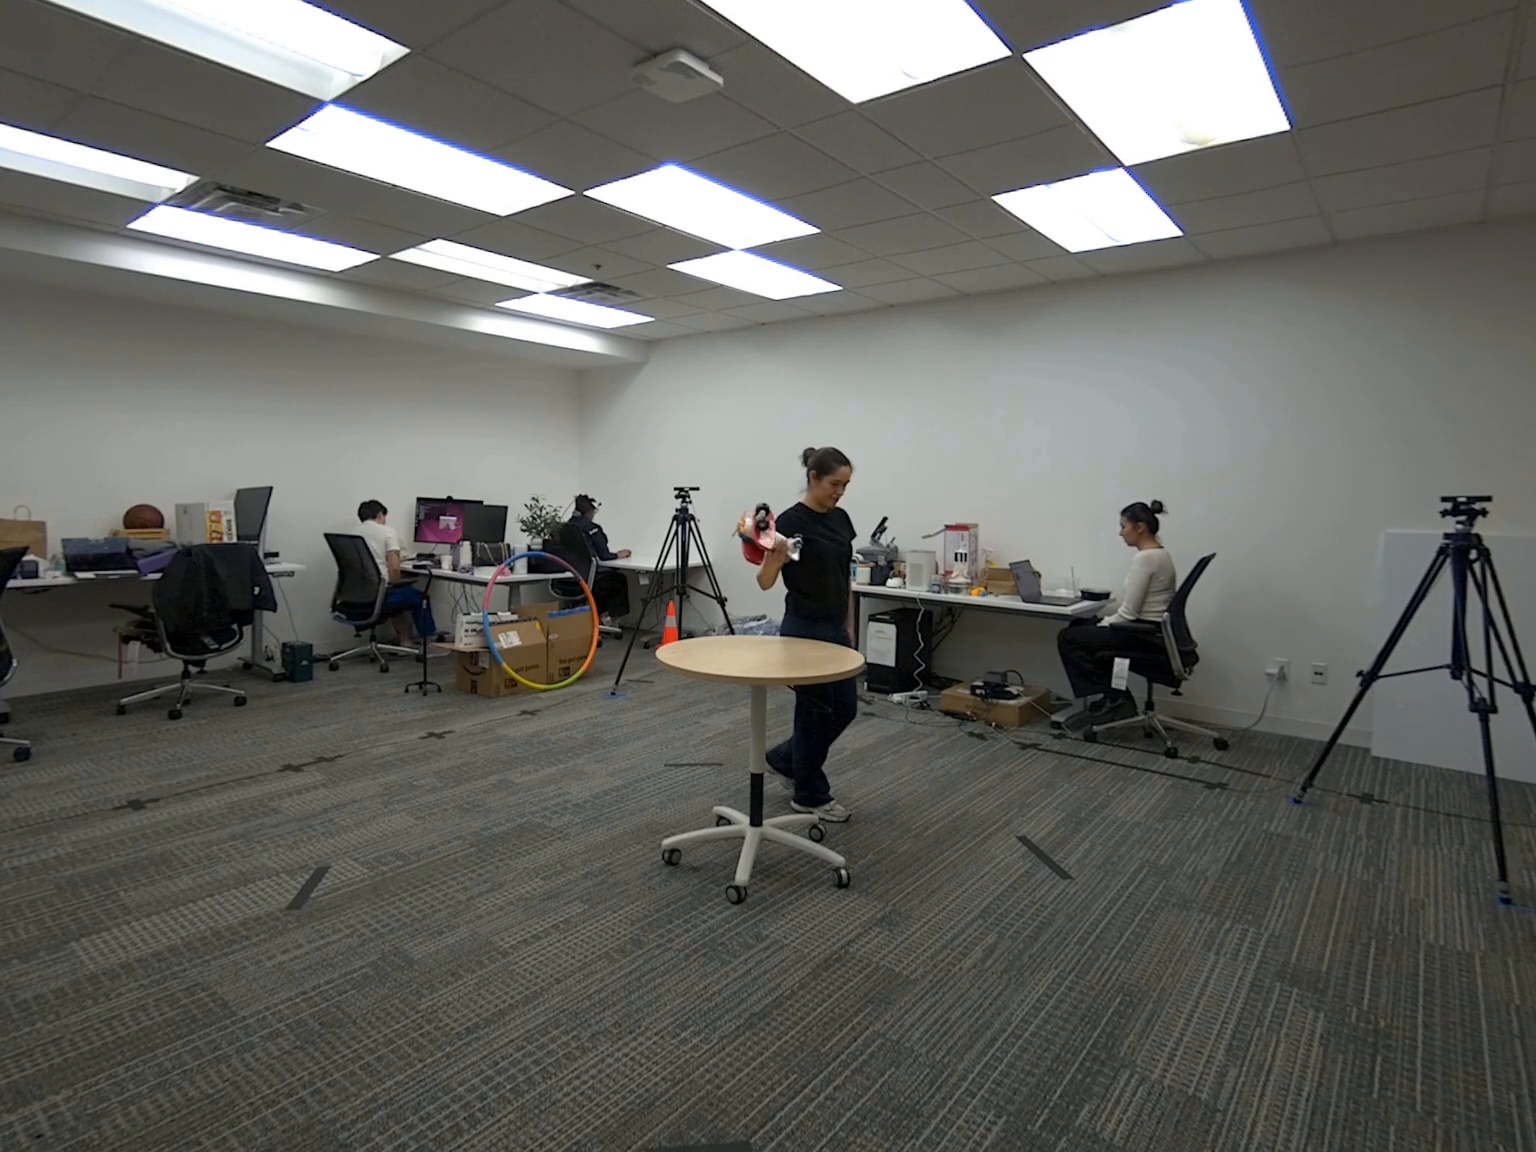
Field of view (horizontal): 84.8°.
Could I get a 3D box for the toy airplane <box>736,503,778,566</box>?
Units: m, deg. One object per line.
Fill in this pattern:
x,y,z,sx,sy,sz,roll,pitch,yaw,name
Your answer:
0.032,-0.150,3.214,0.157,0.260,0.249,-42,-2,30,toy airplane
